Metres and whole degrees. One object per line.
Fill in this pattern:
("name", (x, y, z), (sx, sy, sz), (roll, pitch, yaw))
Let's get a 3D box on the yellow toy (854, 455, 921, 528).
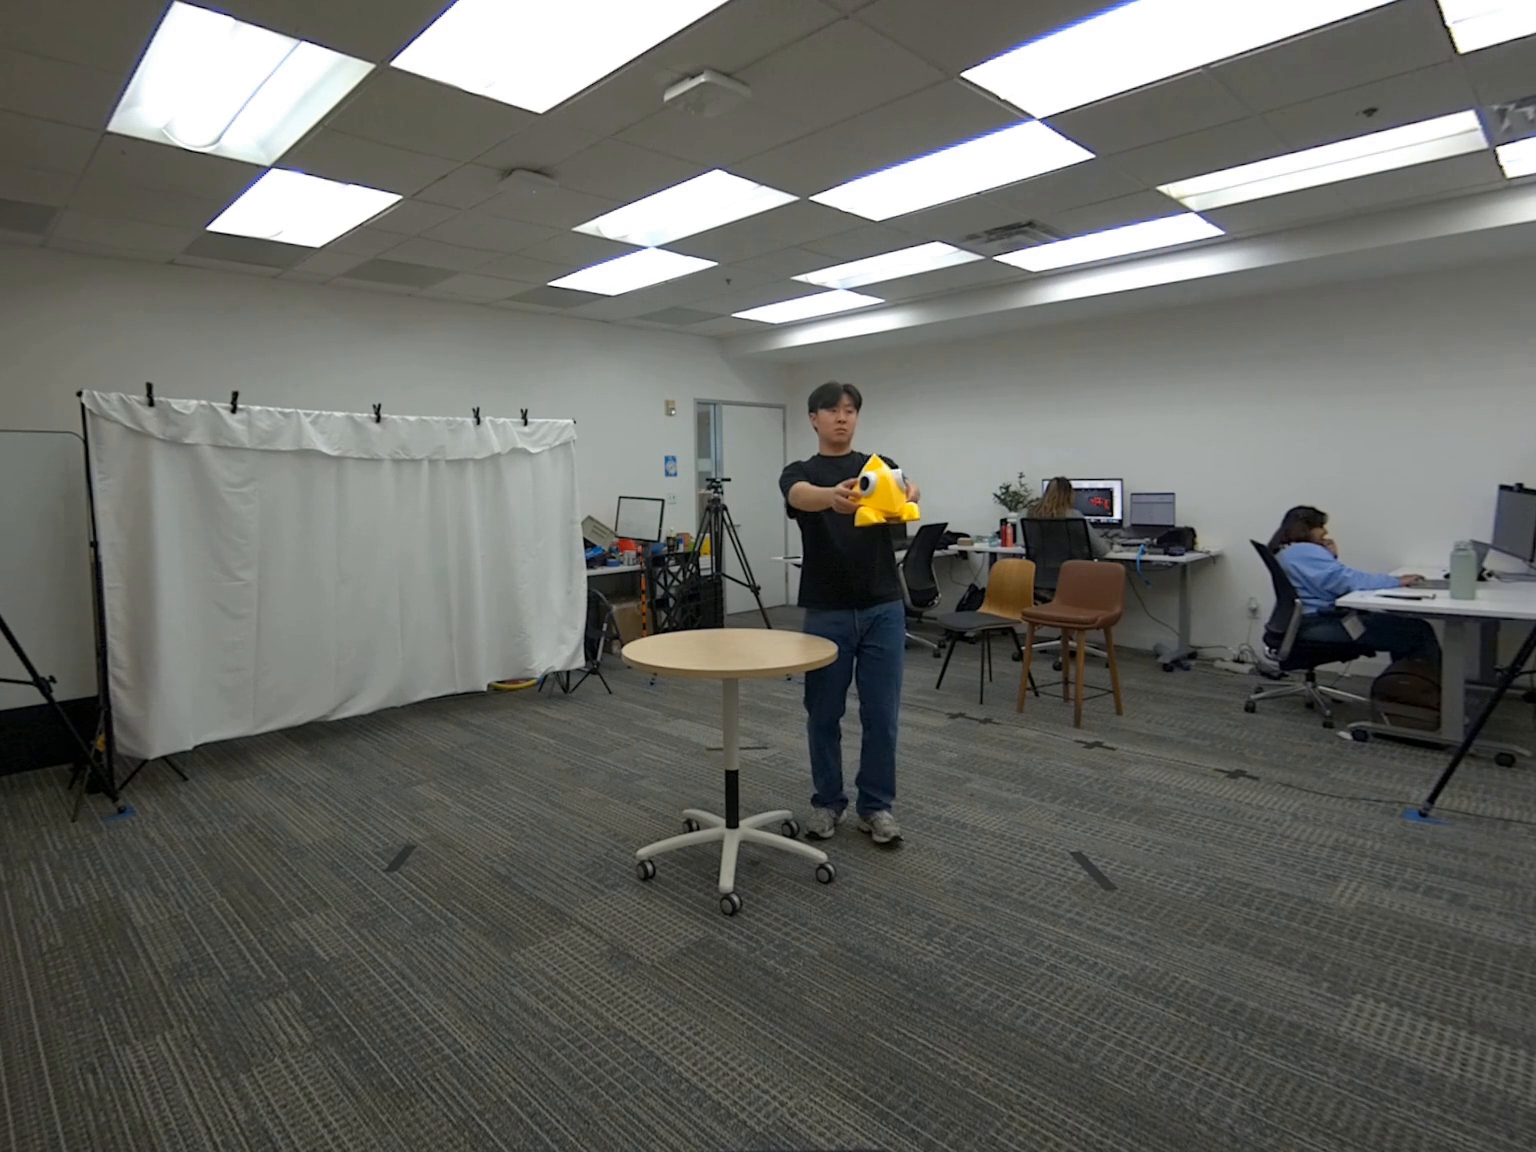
("yellow toy", (0.371, -0.281, 2.703), (0.203, 0.231, 0.194), (-4, -2, -7))
